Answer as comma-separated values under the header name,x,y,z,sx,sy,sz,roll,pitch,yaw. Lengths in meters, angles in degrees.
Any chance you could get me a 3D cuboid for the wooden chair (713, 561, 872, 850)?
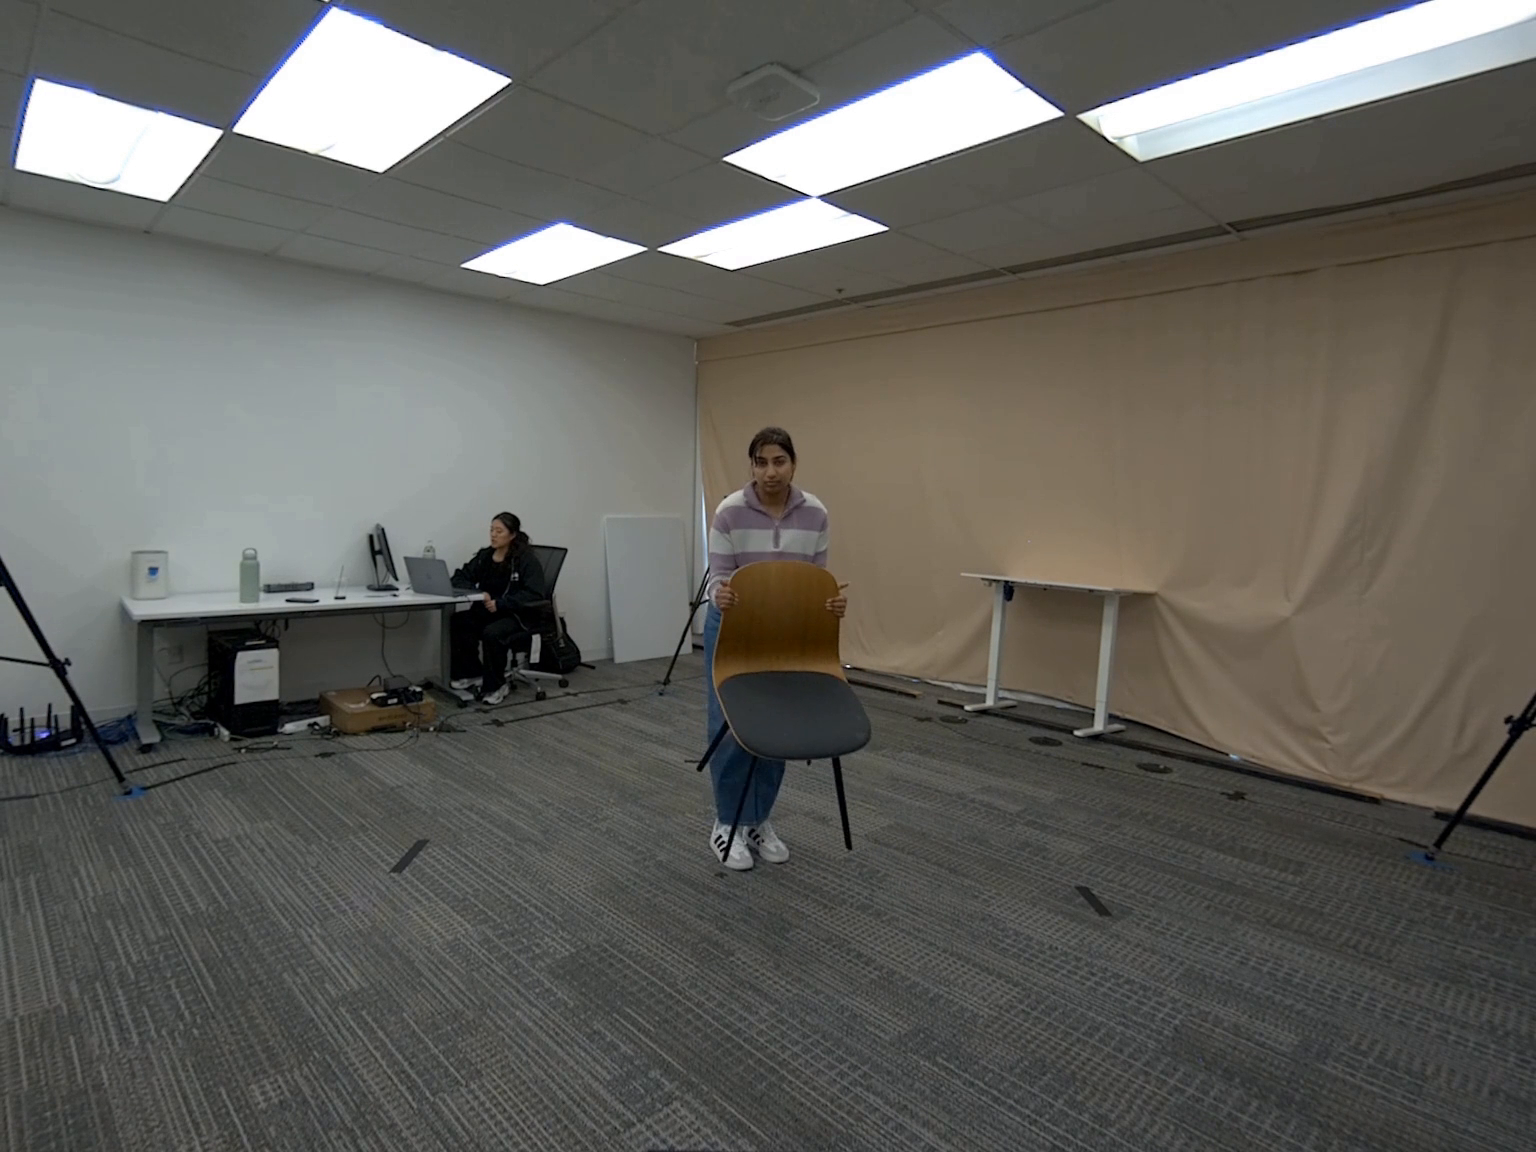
name,x,y,z,sx,sy,sz,roll,pitch,yaw
wooden chair,0.058,0.454,2.796,0.472,0.866,0.536,0,21,-15
